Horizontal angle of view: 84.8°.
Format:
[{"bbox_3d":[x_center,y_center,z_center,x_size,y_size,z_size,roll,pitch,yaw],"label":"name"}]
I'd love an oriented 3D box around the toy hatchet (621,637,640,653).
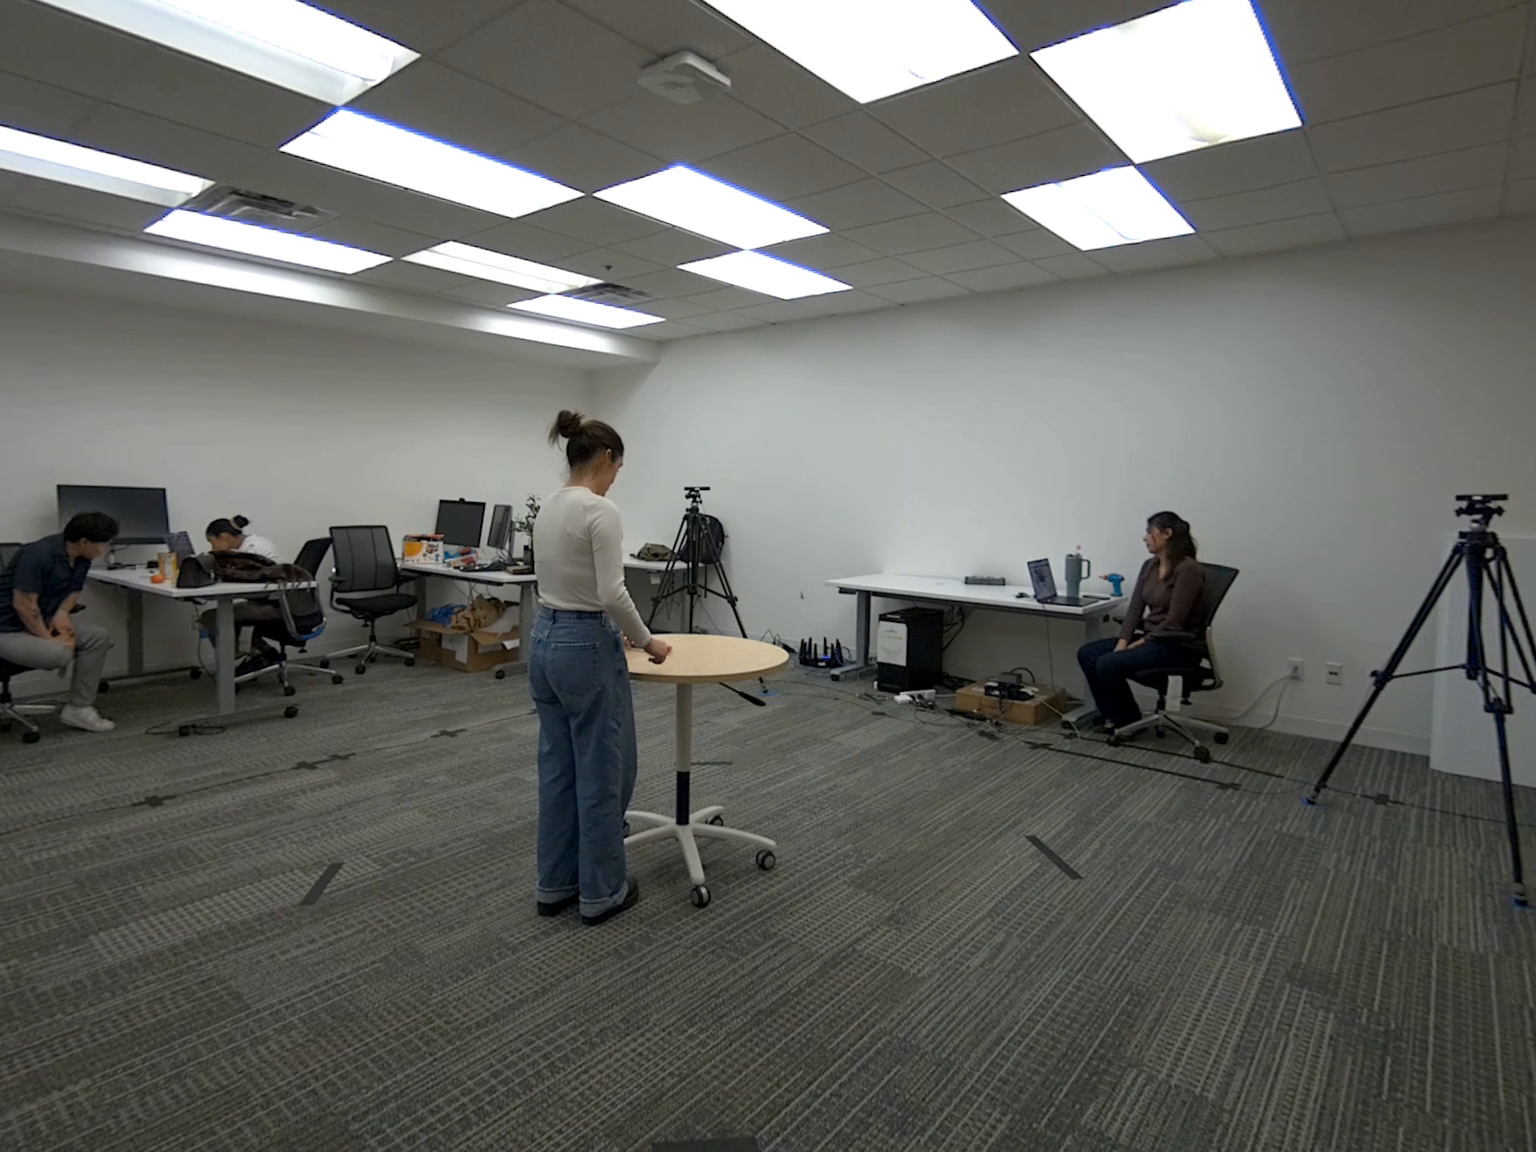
[{"bbox_3d":[-0.481,0.259,3.185,0.127,0.029,0.279,3,1,-44],"label":"toy hatchet"}]
